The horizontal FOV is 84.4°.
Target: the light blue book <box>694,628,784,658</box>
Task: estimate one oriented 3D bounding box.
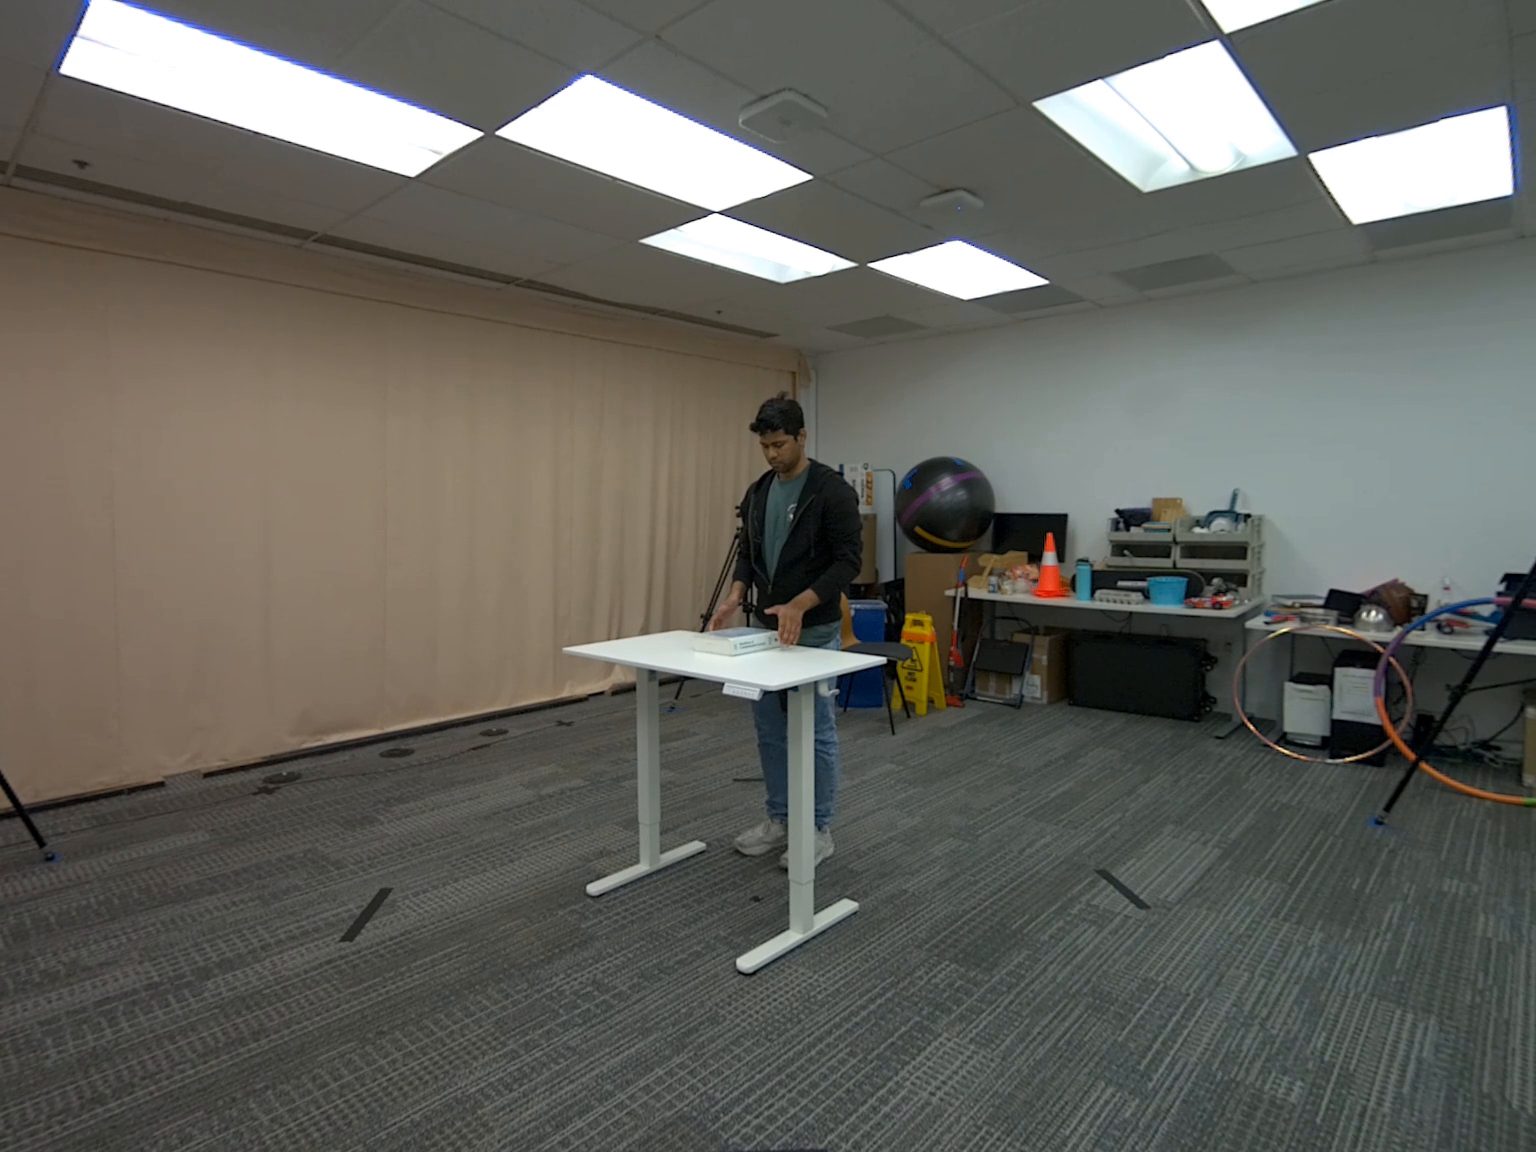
[{"bbox_3d":[-0.104,0.235,3.021,0.198,0.059,0.253,3,5,41],"label":"light blue book"}]
